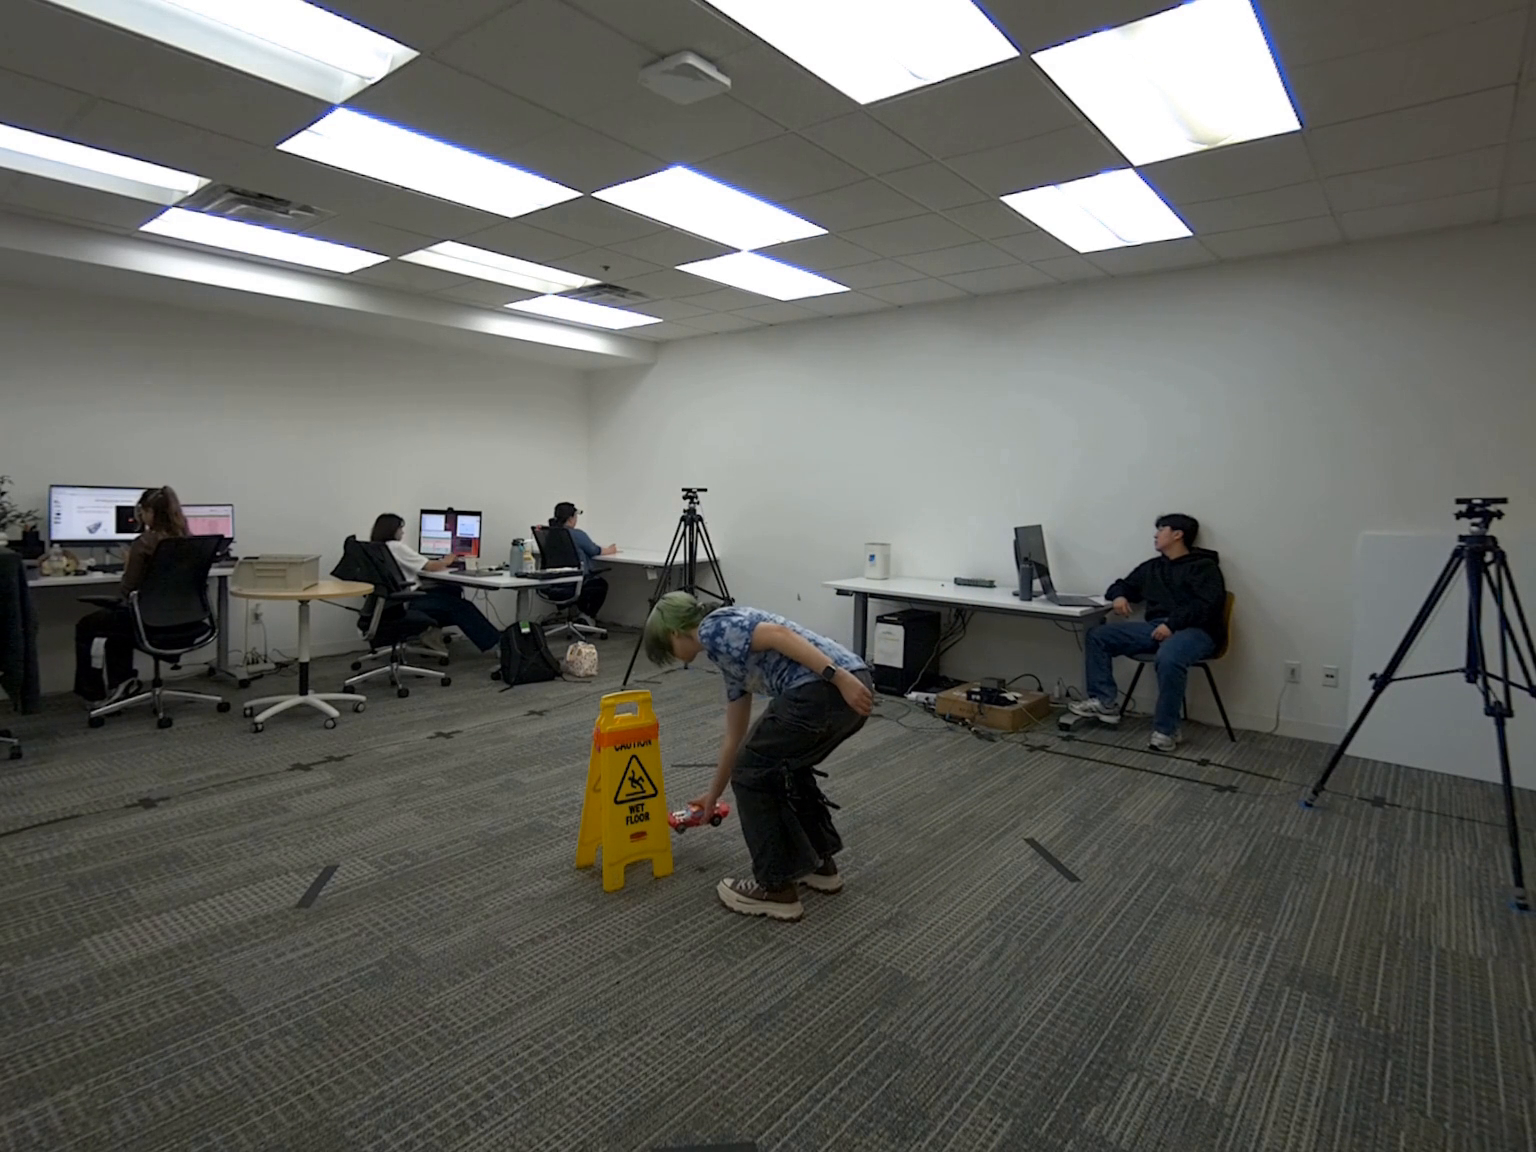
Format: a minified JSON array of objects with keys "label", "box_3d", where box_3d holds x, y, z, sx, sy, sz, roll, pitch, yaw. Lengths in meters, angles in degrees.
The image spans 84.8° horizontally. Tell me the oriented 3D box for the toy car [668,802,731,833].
[{"label":"toy car","box_3d":[-0.274,0.912,3.239,0.250,0.082,0.134,-18,14,-24]}]
